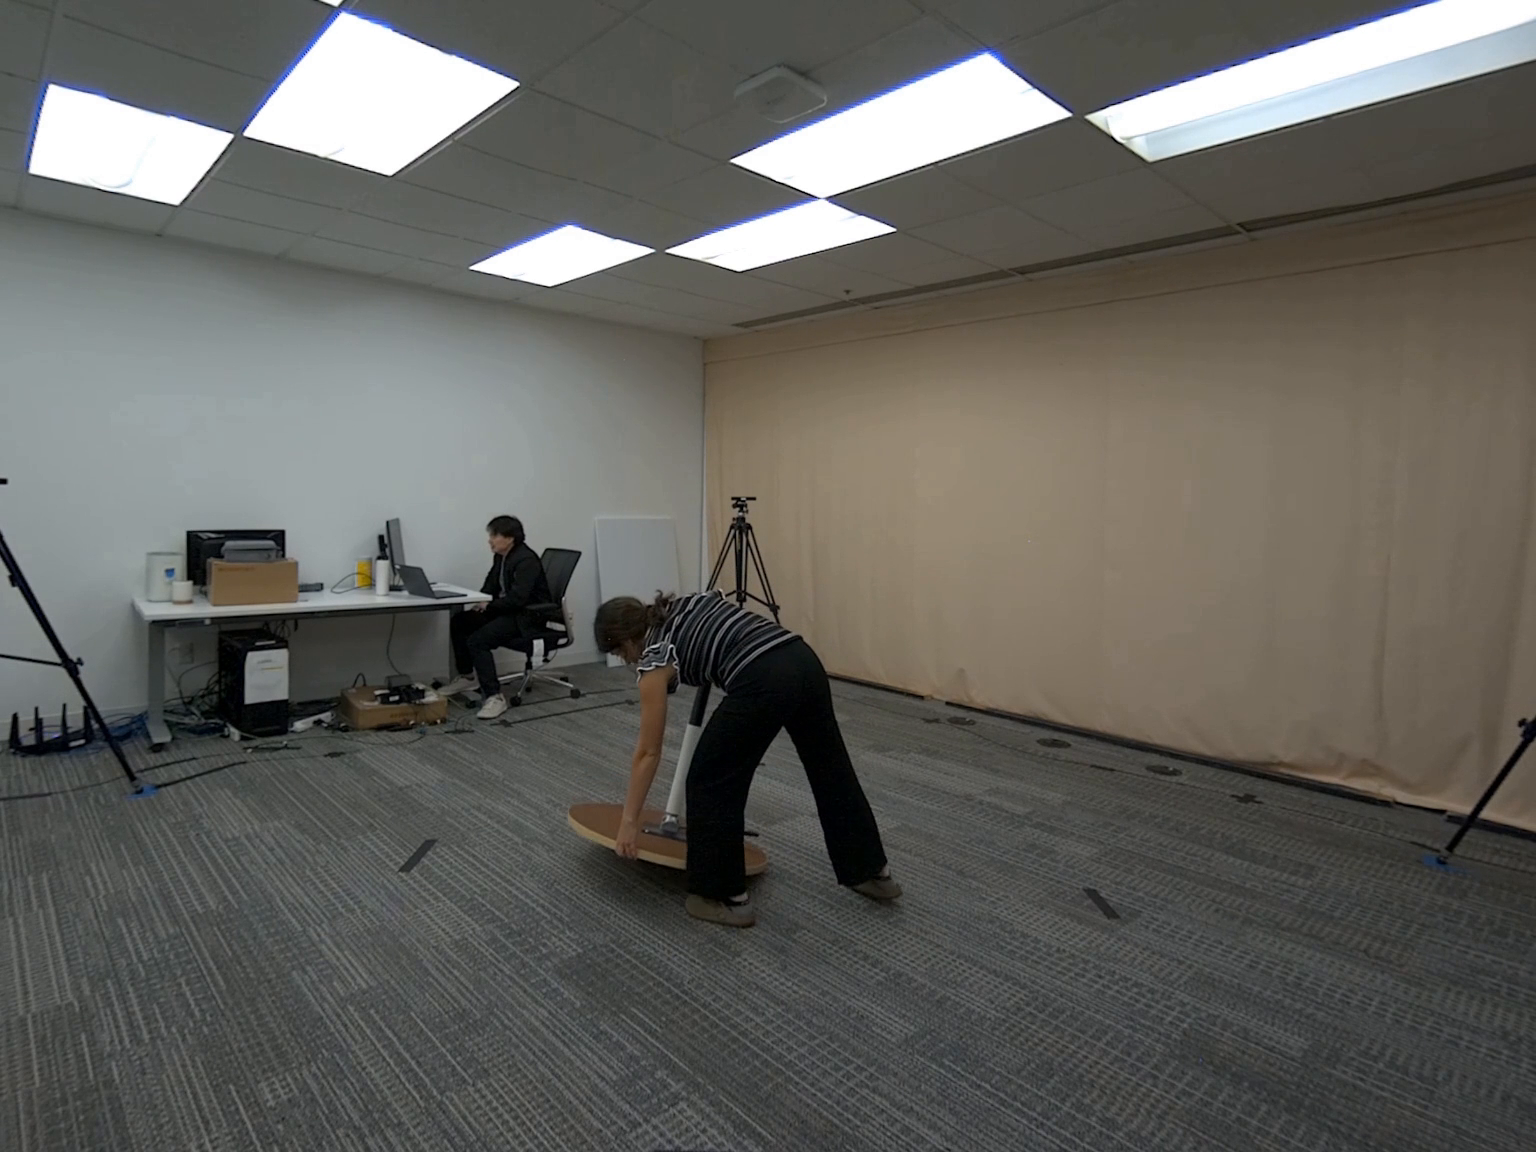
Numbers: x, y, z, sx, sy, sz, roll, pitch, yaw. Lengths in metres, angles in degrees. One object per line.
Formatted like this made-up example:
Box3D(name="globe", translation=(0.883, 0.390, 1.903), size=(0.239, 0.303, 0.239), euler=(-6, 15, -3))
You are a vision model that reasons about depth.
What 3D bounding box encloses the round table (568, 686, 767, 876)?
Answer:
Box3D(name="round table", translation=(-0.294, 0.608, 3.213), size=(0.765, 0.797, 0.760), euler=(13, -7, 0))
